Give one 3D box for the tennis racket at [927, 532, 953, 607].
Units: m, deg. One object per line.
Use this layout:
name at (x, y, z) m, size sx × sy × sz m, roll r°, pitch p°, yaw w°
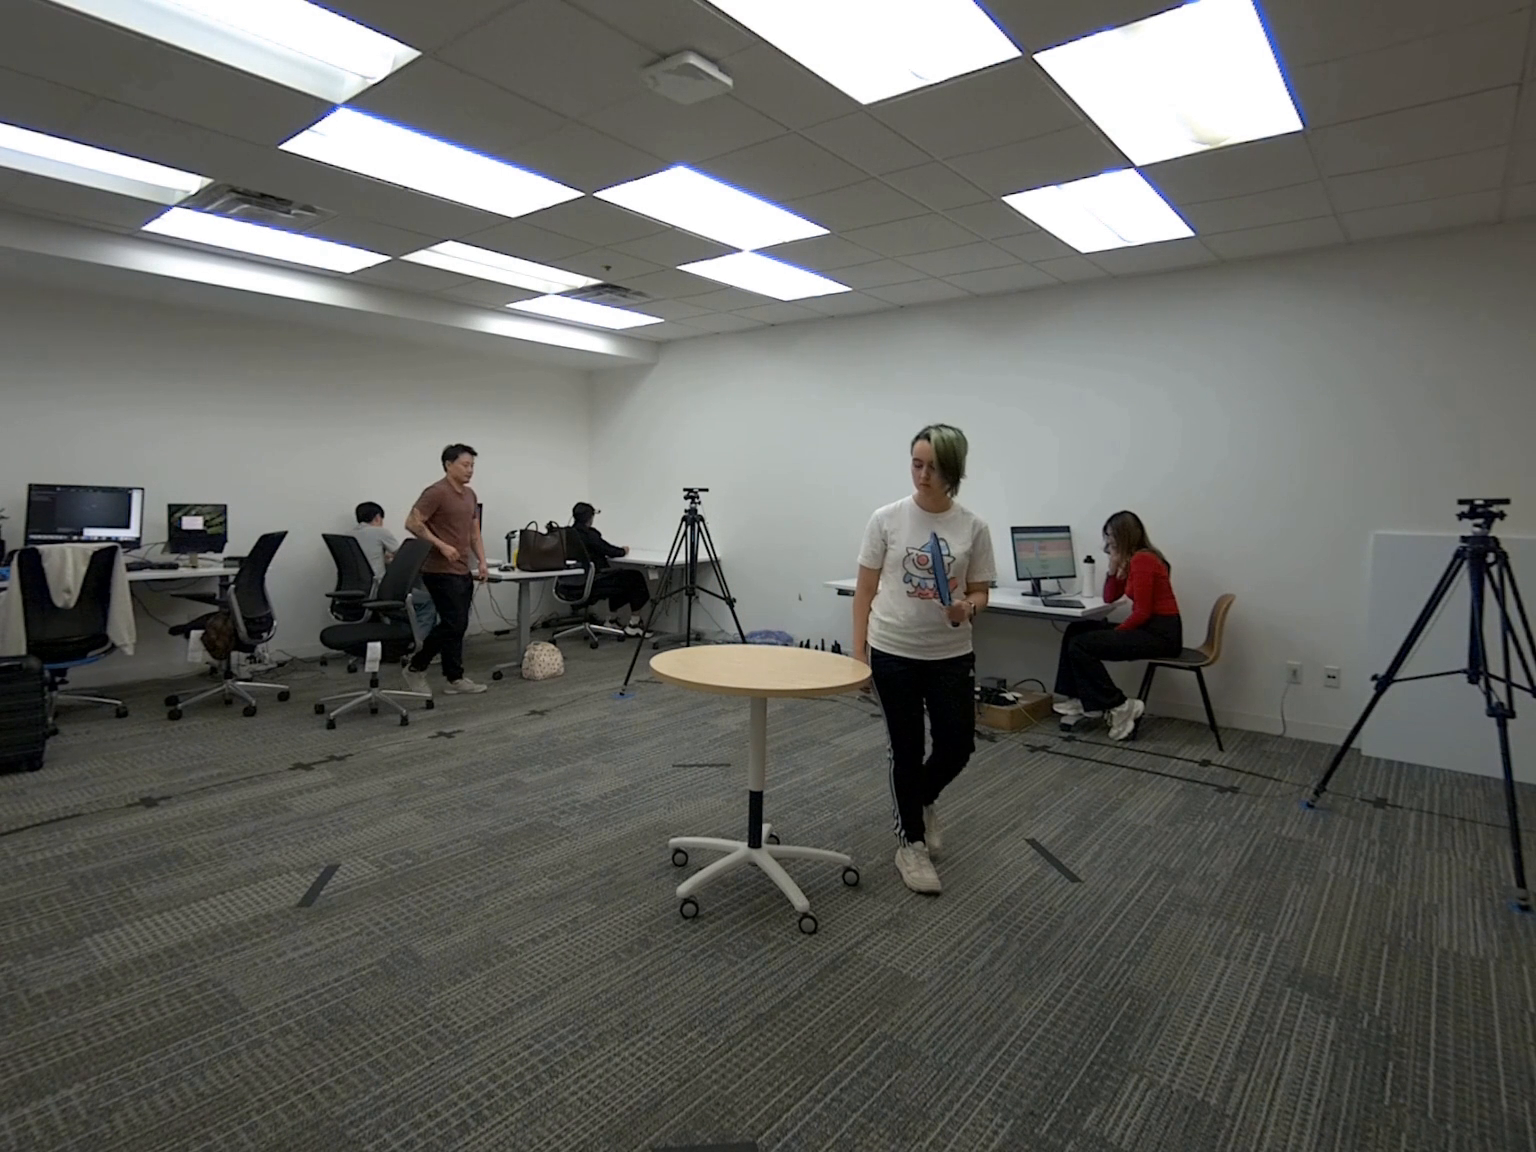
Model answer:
tennis racket at (0.551, 0.020, 2.736) m, size 0.032 × 0.218 × 0.415 m, roll -5°, pitch -36°, yaw 19°
